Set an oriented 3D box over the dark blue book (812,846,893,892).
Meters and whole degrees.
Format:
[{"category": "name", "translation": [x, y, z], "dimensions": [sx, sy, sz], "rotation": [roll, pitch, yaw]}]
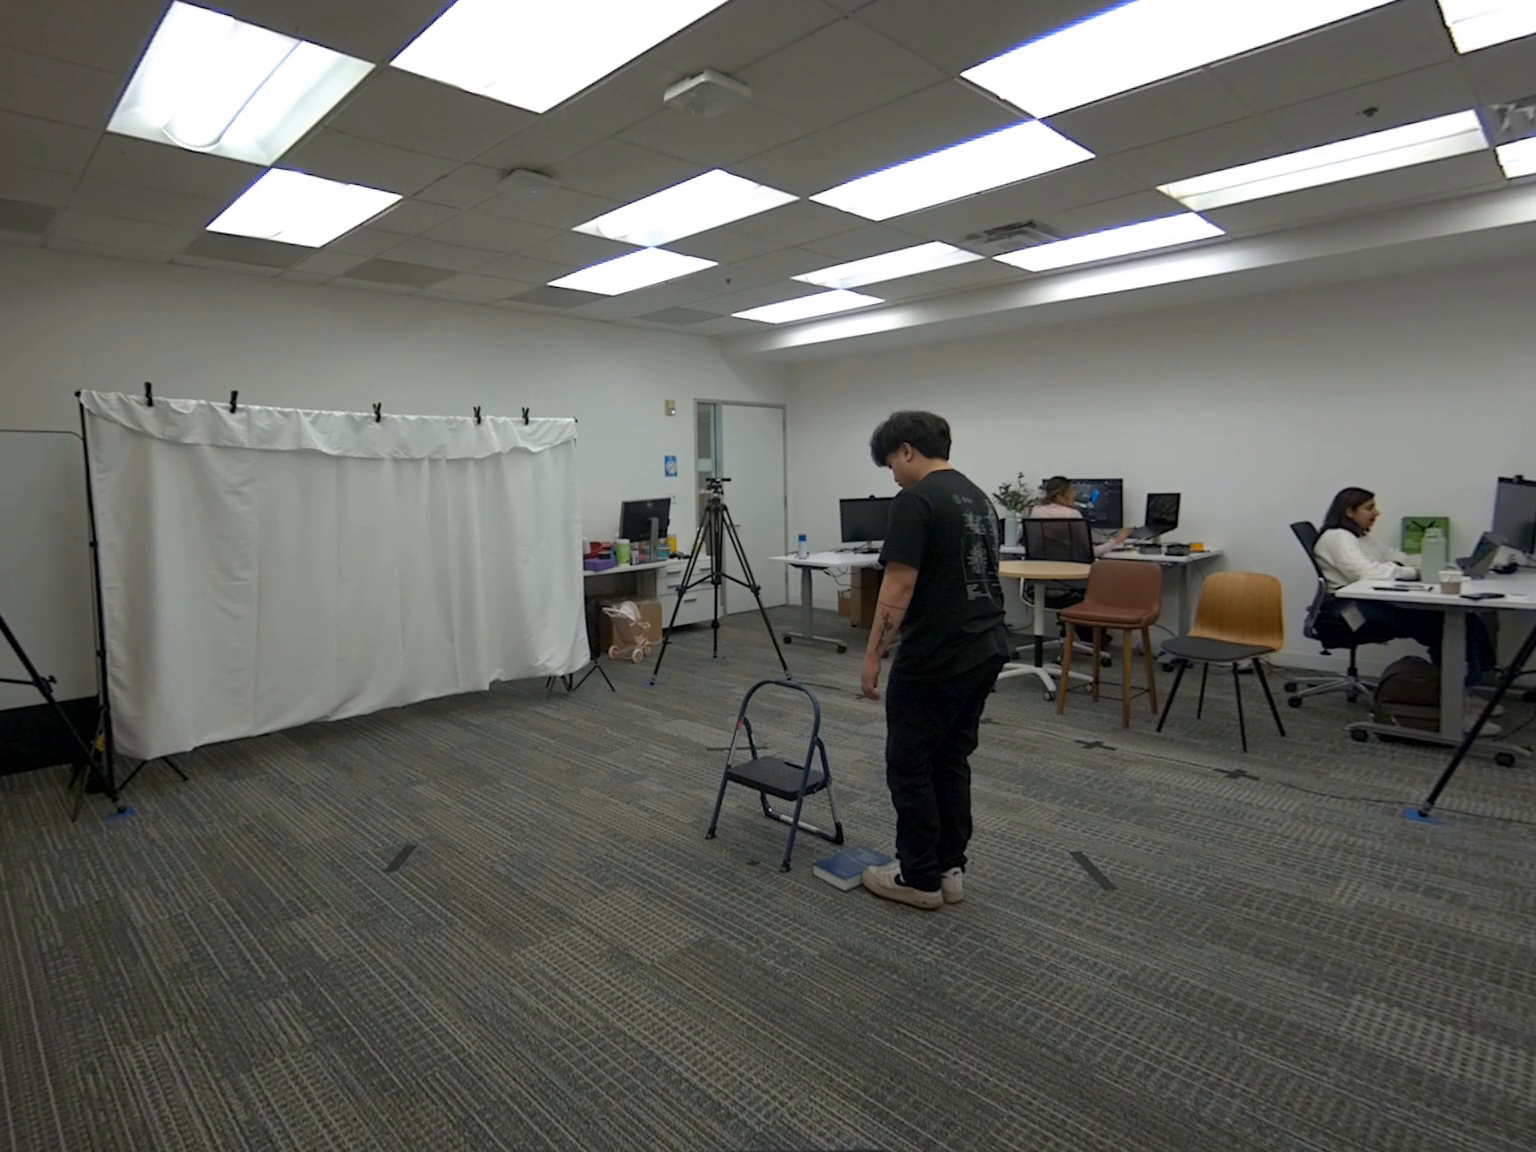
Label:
[{"category": "dark blue book", "translation": [0.304, 1.027, 3.004], "dimensions": [0.239, 0.045, 0.168], "rotation": [-6, 7, -38]}]
